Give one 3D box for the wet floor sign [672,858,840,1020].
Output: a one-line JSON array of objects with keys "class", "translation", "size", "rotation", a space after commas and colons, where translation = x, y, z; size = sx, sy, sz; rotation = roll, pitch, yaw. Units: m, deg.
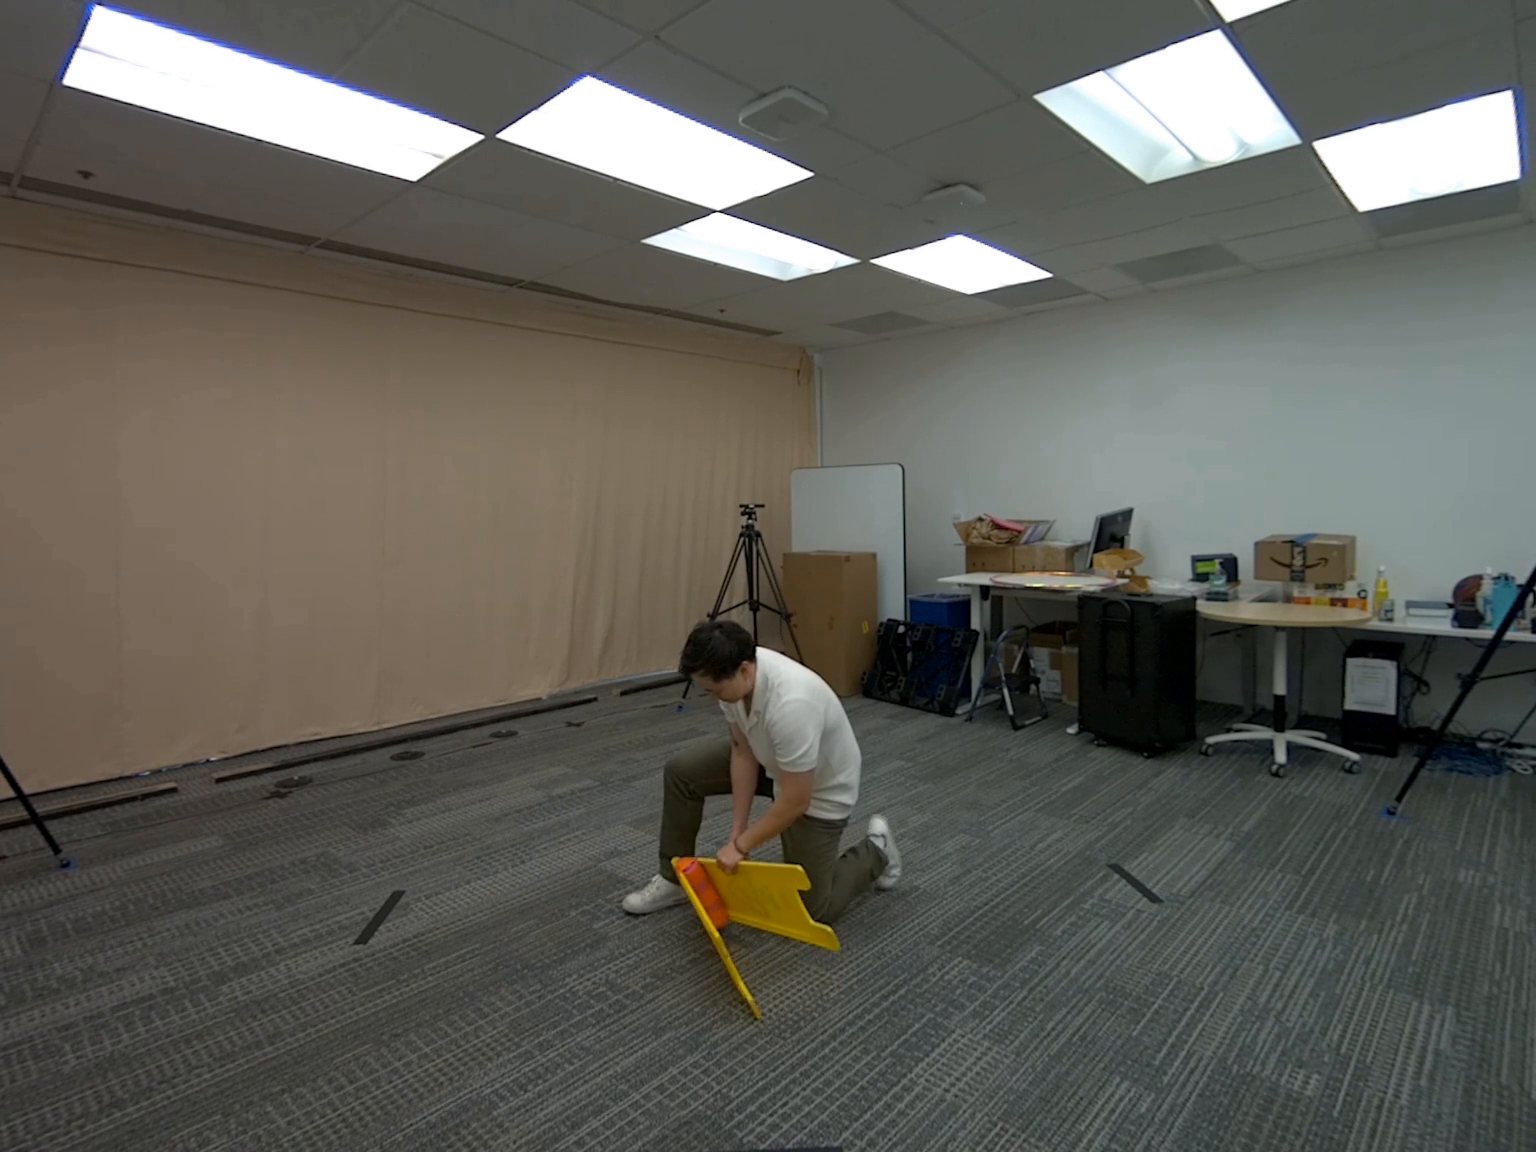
[{"class": "wet floor sign", "translation": [-0.117, 1.030, 2.591], "size": [0.285, 0.280, 0.662], "rotation": [-31, 11, -29]}]
